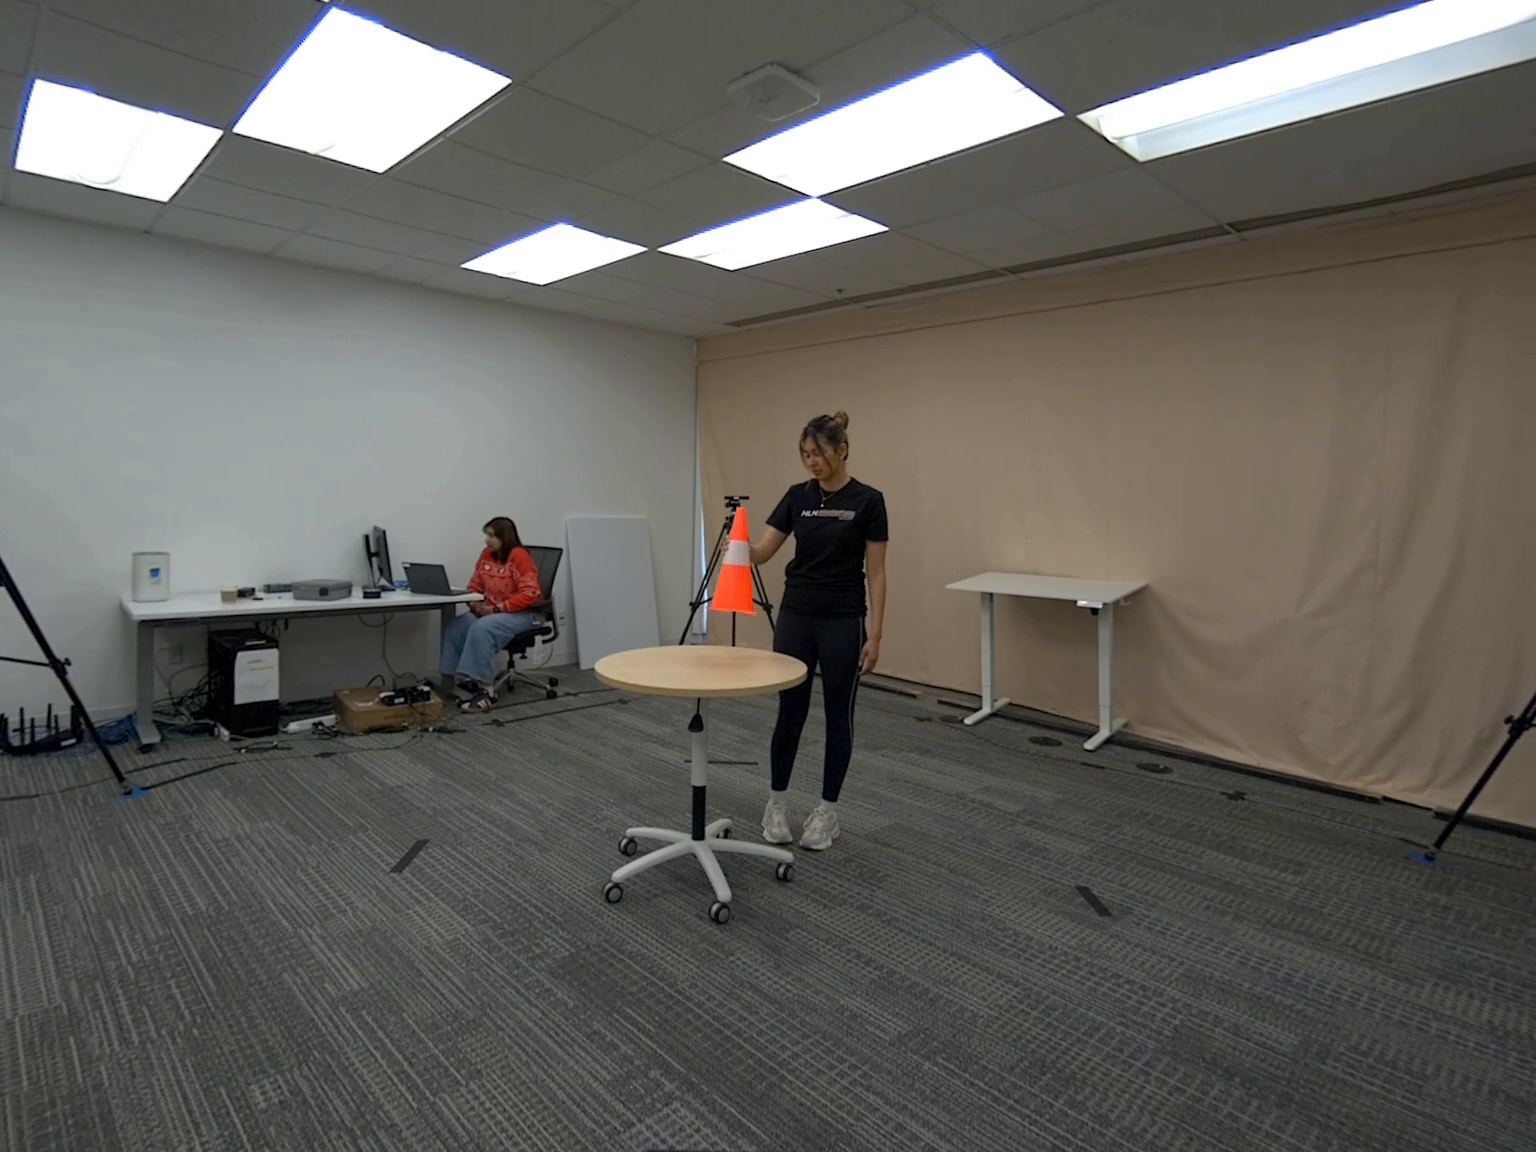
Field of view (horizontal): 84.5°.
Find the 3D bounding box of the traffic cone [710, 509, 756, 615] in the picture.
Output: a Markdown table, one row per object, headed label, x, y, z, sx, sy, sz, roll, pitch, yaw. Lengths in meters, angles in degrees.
| label | x | y | z | sx | sy | sz | roll | pitch | yaw |
| --- | --- | --- | --- | --- | --- | --- | --- | --- | --- |
| traffic cone | -0.122 | -0.065 | 3.122 | 0.202 | 0.384 | 0.205 | 6 | -1 | -5 |
